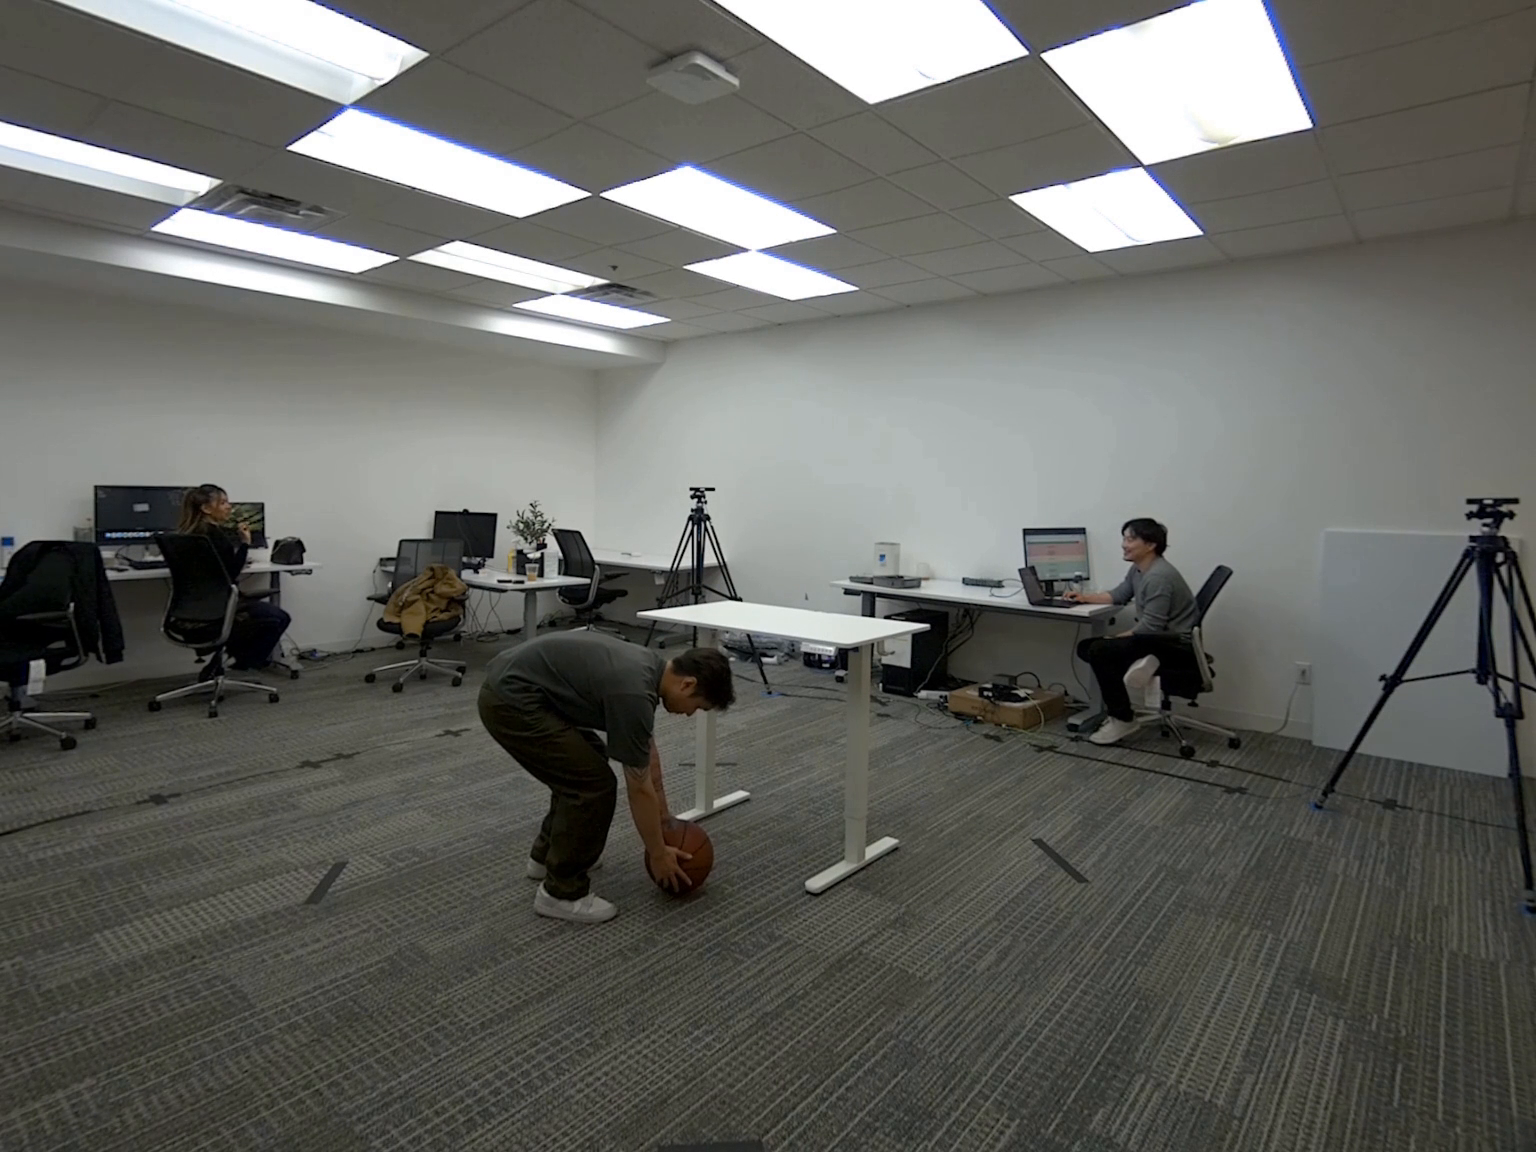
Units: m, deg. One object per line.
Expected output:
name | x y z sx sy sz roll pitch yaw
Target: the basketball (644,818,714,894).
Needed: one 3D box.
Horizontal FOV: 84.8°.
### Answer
basketball | -0.320 0.961 2.933 0.235 0.235 0.237 1 4 -2
